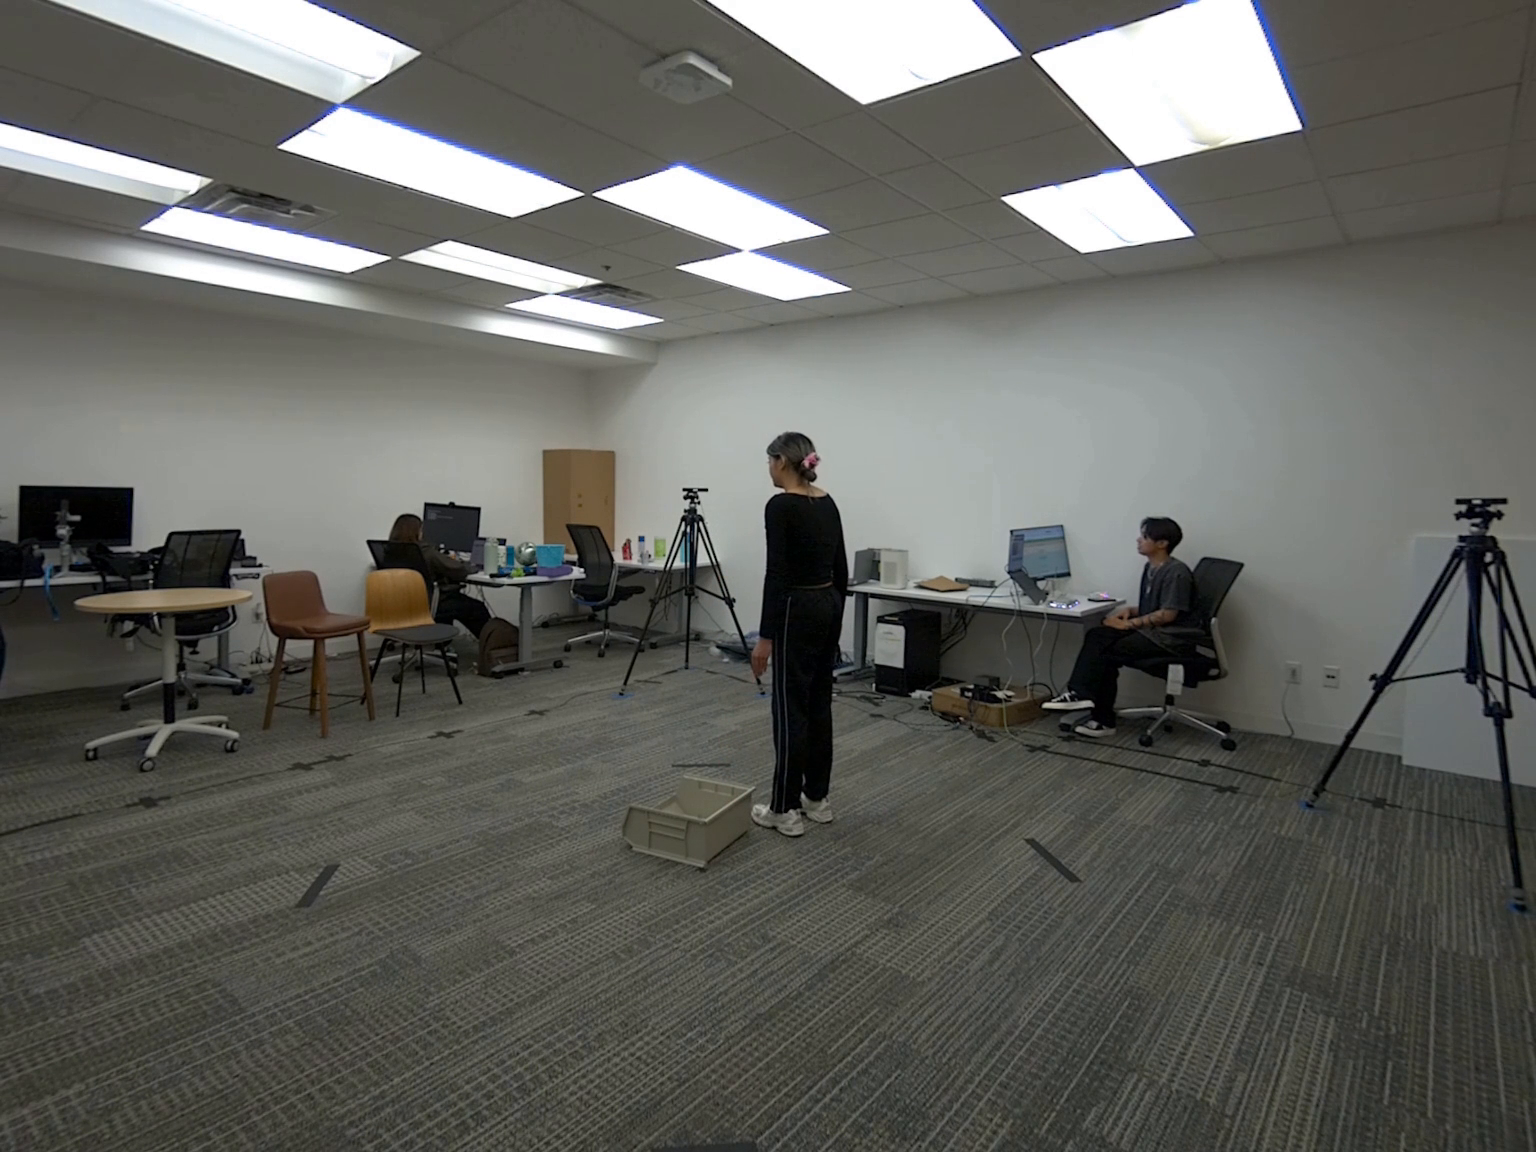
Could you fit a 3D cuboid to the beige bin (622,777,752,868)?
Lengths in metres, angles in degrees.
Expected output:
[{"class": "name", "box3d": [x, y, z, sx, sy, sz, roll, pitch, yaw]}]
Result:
[{"class": "beige bin", "box3d": [-0.319, 0.956, 3.374, 0.388, 0.188, 0.412, 4, 5, 26]}]
